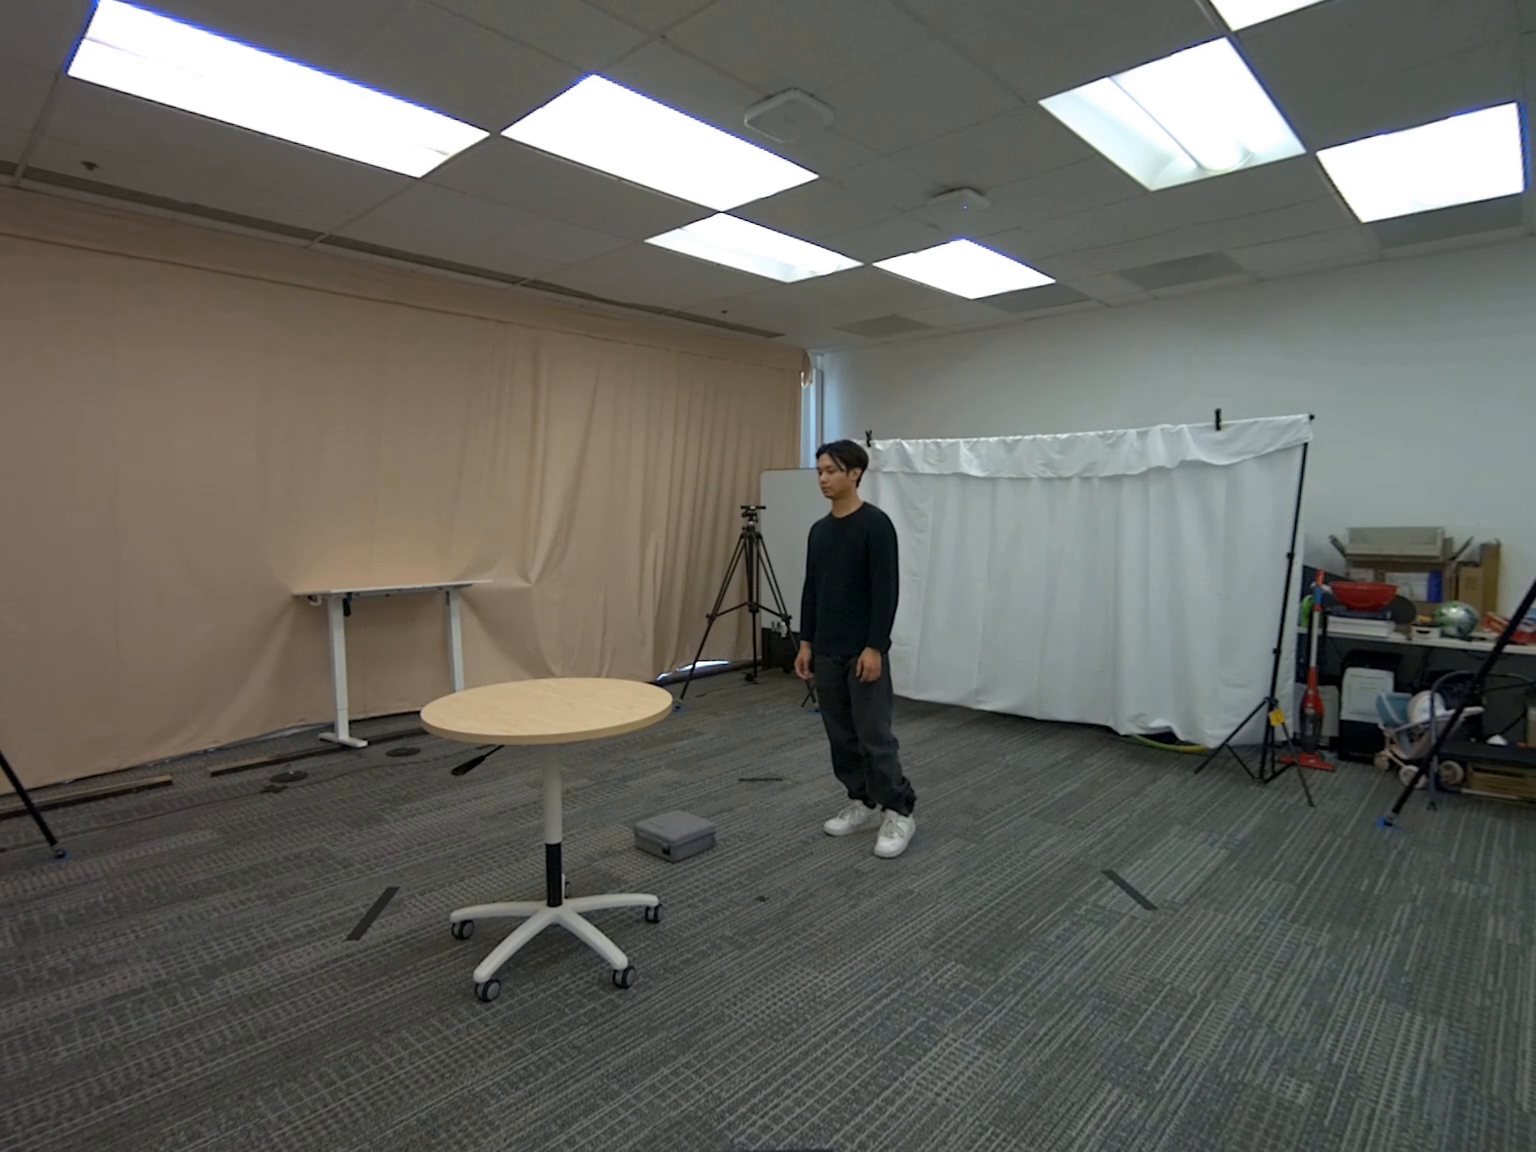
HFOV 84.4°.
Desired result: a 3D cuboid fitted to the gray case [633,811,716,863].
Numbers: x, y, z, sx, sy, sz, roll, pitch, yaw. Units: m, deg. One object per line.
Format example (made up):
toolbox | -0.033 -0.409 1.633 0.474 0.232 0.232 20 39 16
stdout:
gray case | -0.381 1.052 3.444 0.265 0.104 0.253 2 5 43
